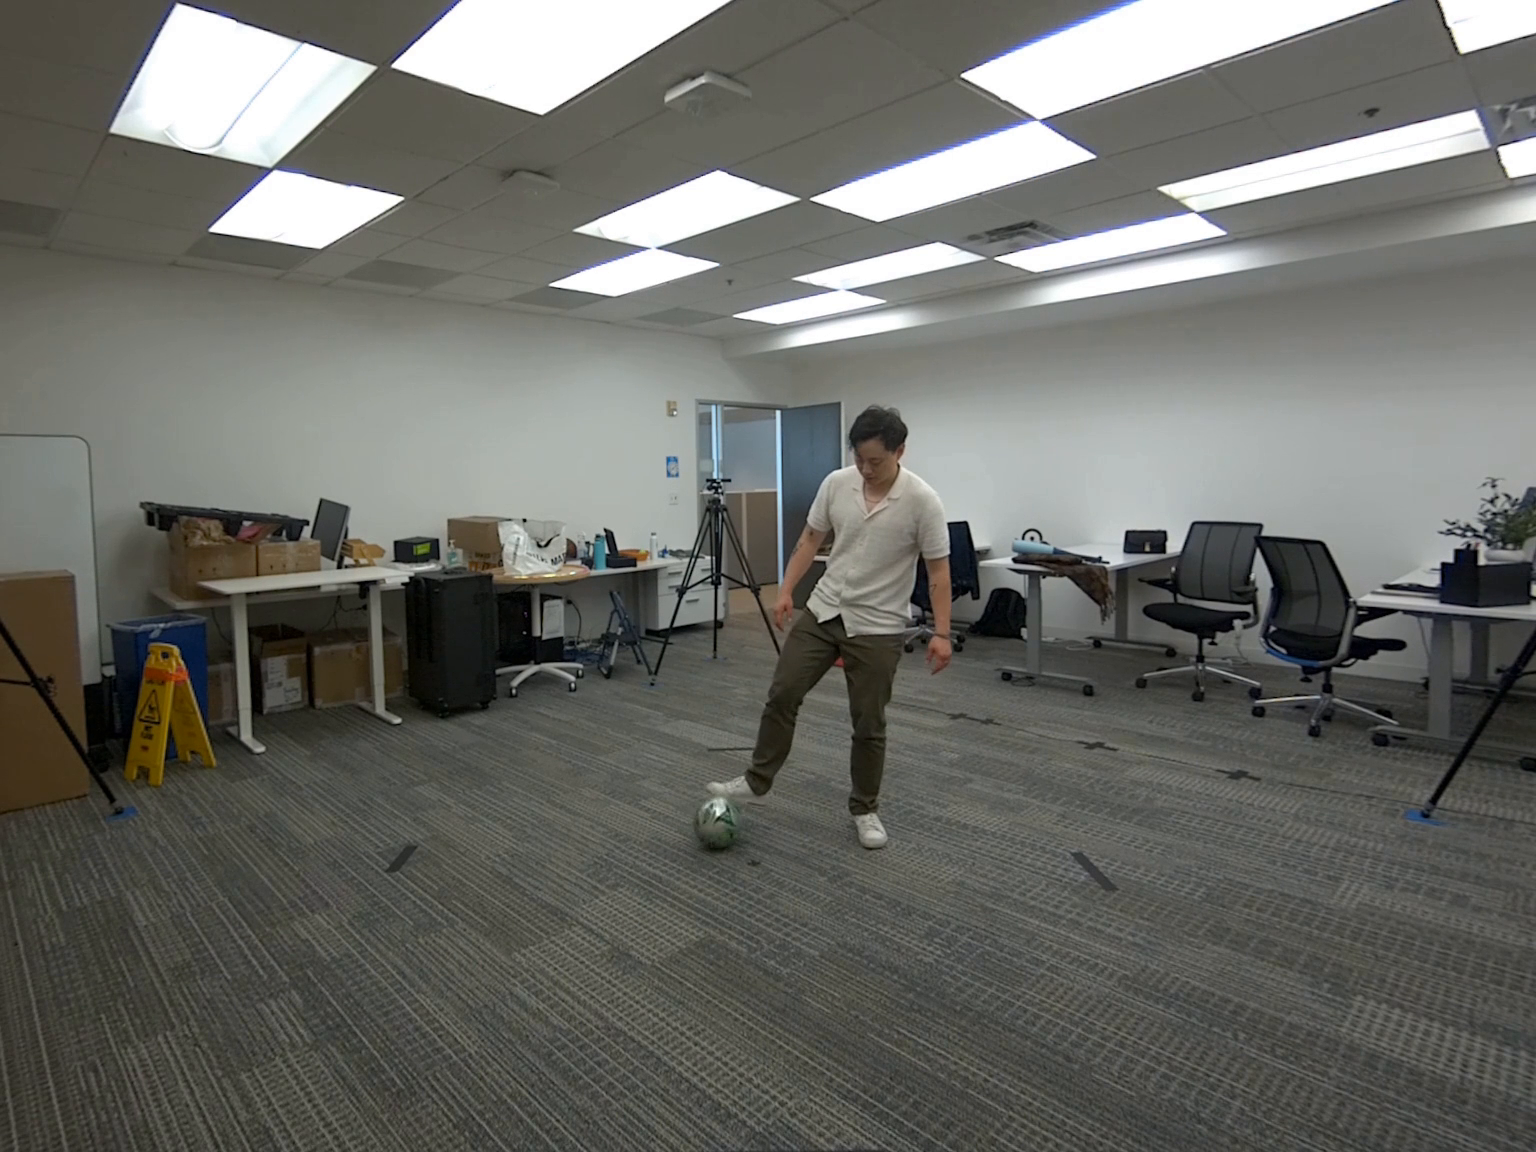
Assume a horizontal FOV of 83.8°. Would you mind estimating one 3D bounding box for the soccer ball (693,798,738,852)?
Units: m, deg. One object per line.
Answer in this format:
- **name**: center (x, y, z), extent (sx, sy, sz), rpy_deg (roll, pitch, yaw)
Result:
- **soccer ball**: center (-0.189, 0.939, 3.235), extent (0.187, 0.187, 0.188), rpy_deg (-1, 5, -2)
